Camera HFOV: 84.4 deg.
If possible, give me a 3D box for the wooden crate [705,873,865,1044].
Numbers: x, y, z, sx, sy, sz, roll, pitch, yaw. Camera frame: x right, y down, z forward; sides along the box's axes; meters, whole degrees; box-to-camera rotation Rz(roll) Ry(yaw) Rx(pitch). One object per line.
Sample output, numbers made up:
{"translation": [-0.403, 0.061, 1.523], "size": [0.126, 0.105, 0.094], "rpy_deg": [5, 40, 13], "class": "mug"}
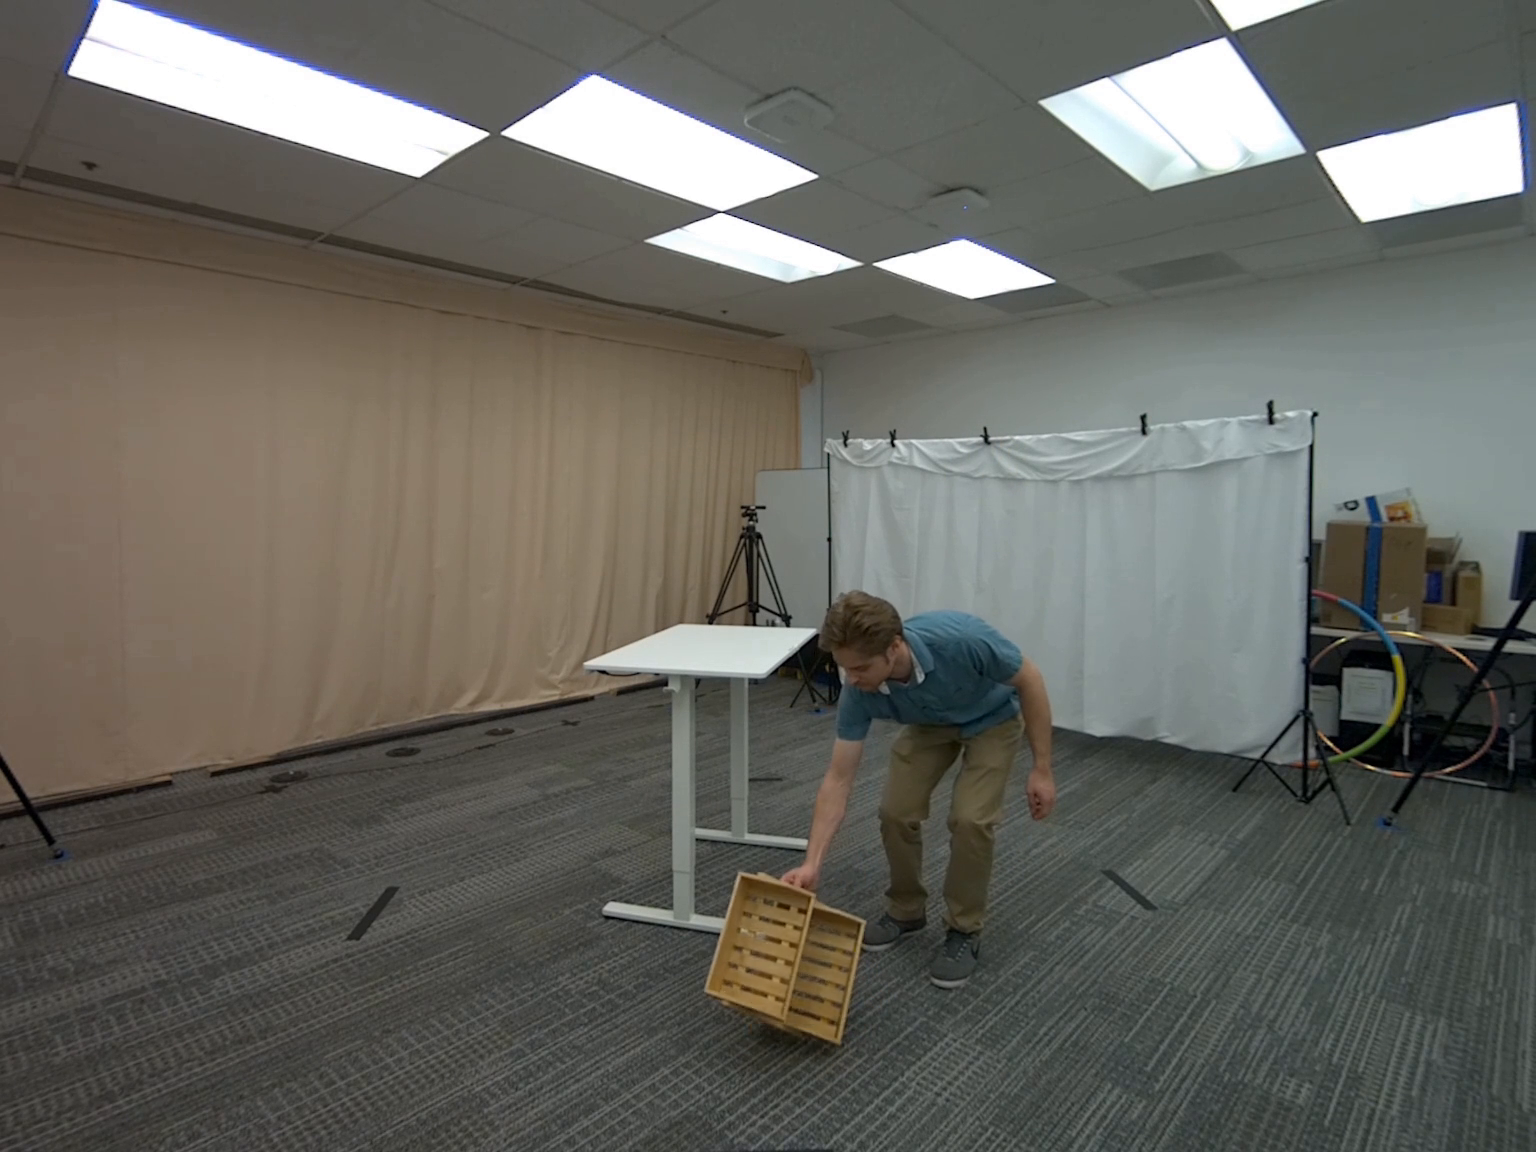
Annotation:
{"translation": [0.075, 0.982, 2.190], "size": [0.310, 0.326, 0.264], "rpy_deg": [2, -35, 26], "class": "wooden crate"}
